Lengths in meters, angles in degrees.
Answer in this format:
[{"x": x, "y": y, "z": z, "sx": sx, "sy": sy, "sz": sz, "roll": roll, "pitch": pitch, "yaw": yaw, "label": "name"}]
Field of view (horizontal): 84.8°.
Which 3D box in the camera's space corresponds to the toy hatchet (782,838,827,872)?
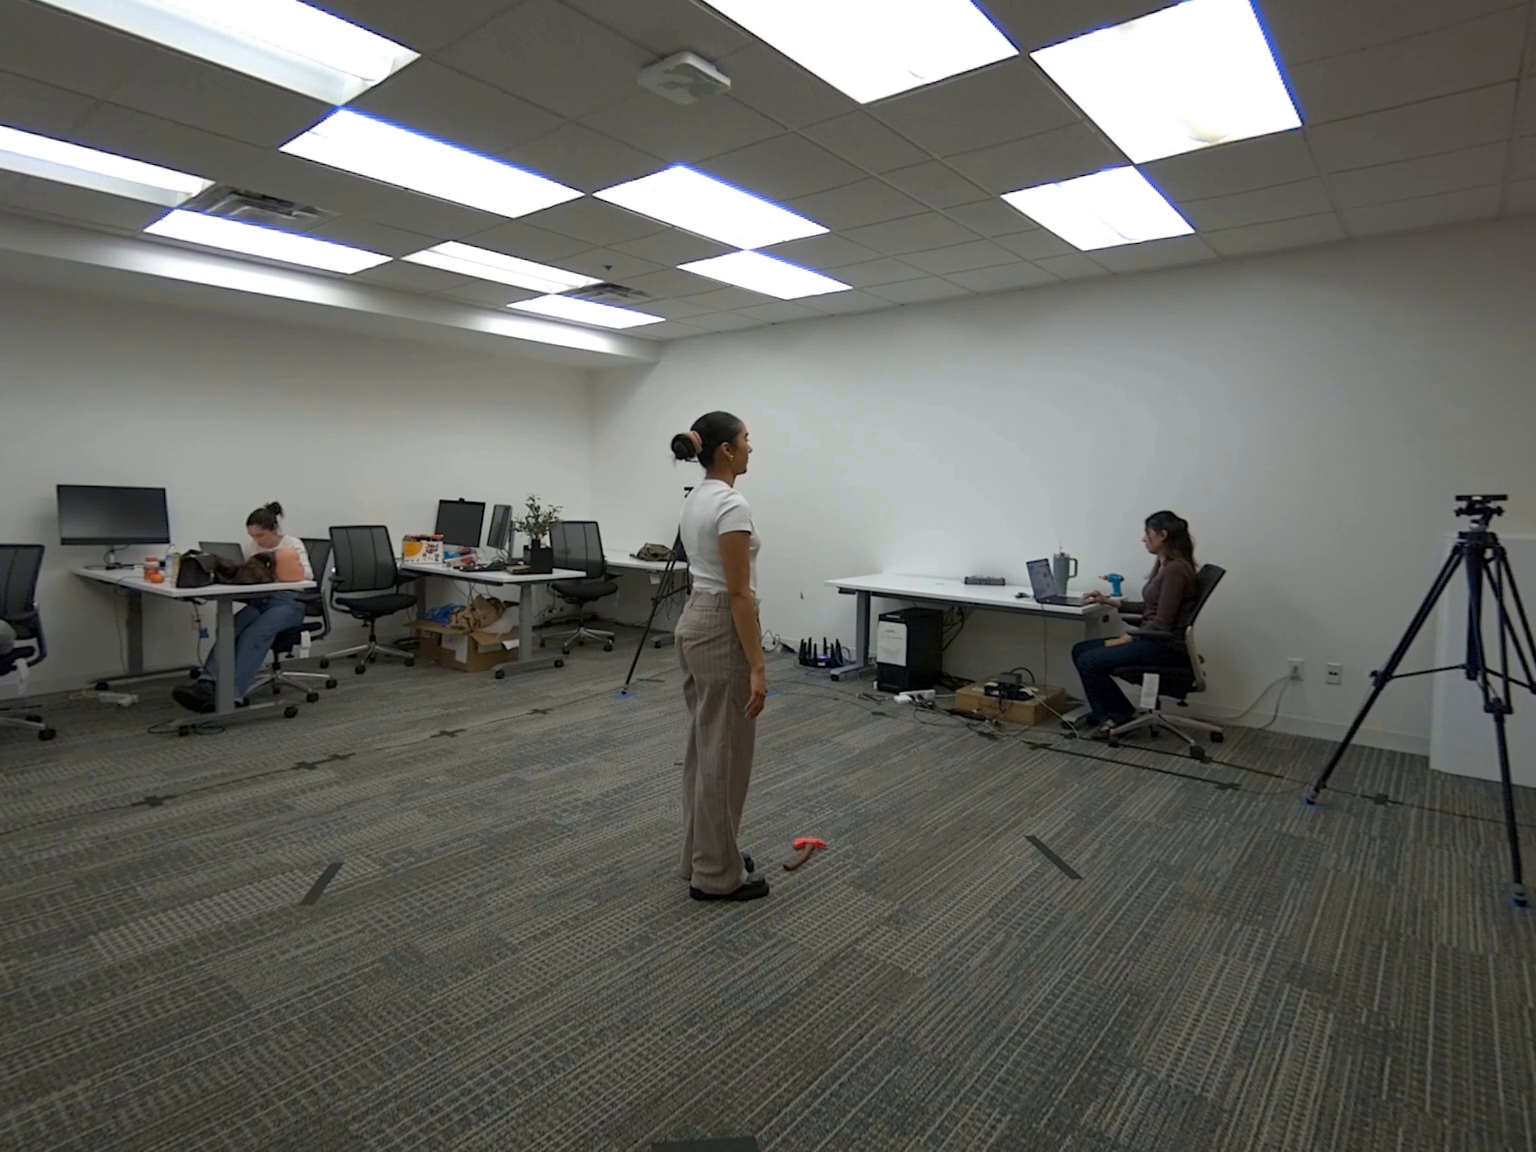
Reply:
[{"x": 0.105, "y": 1.048, "z": 3.234, "sx": 0.135, "sy": 0.029, "sz": 0.263, "roll": 7, "pitch": 9, "yaw": 33, "label": "toy hatchet"}]
